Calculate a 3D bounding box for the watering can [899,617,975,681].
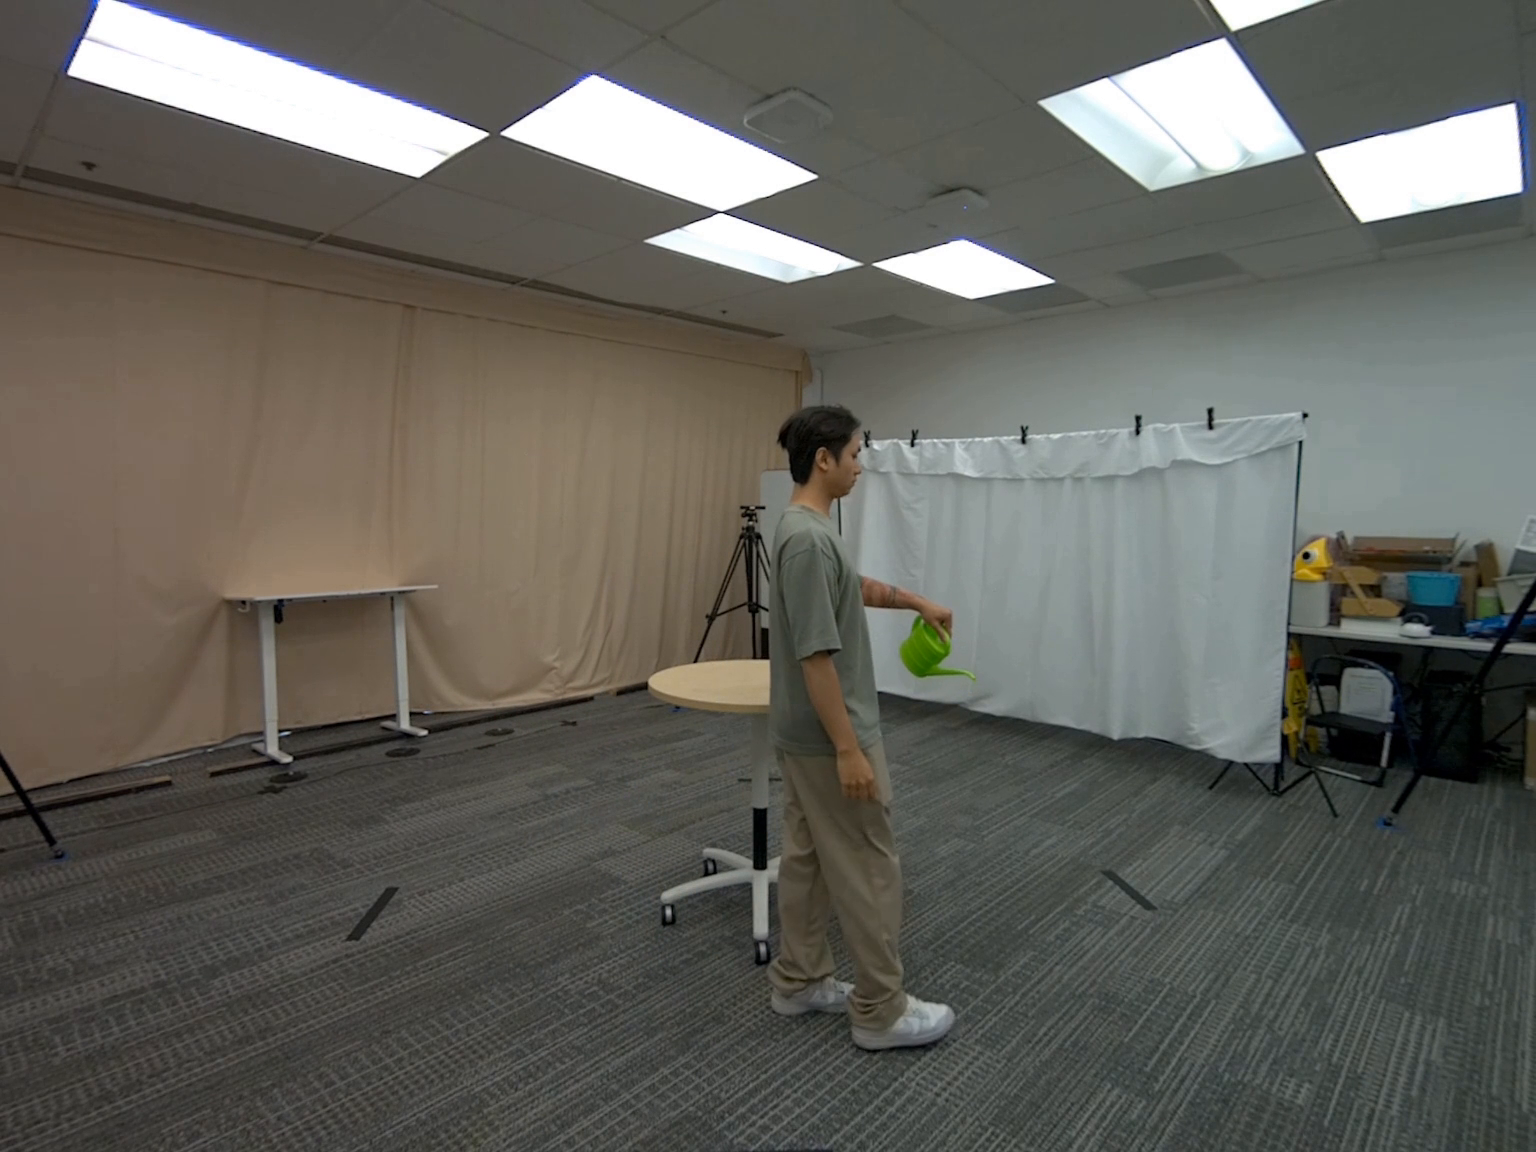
[{"bbox_3d":[0.517,0.250,2.588,0.095,0.285,0.177,12,-45,-25],"label":"watering can"}]
